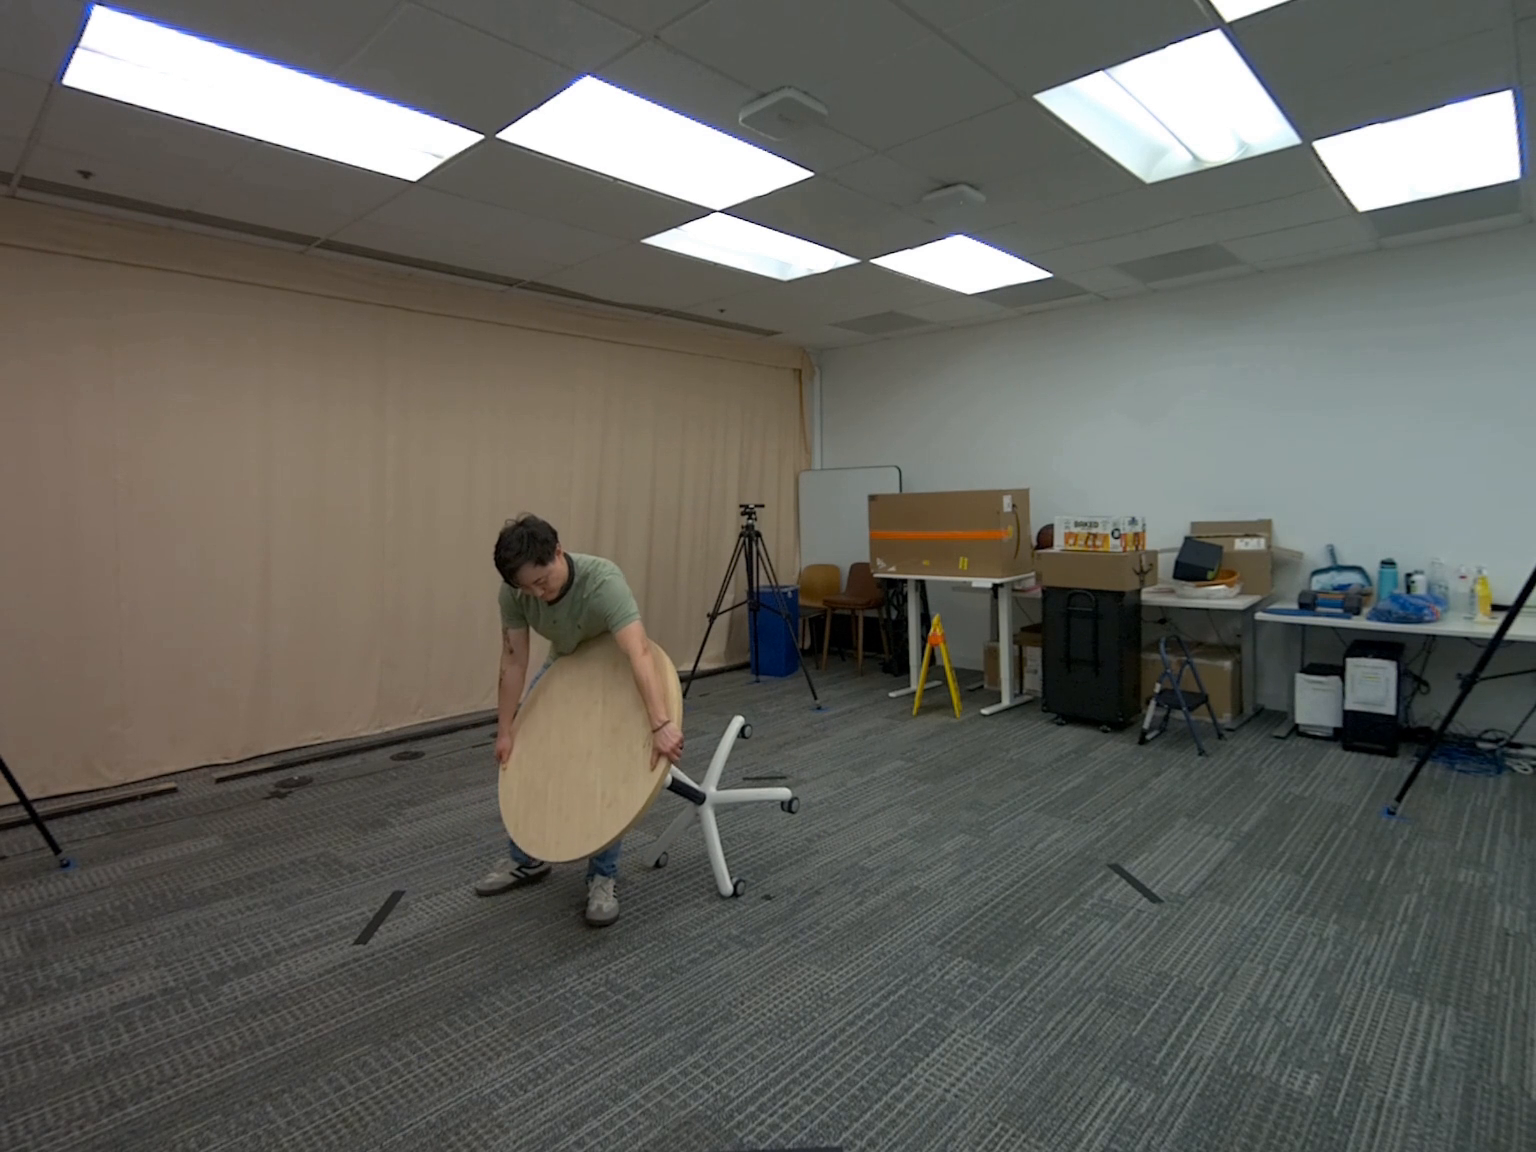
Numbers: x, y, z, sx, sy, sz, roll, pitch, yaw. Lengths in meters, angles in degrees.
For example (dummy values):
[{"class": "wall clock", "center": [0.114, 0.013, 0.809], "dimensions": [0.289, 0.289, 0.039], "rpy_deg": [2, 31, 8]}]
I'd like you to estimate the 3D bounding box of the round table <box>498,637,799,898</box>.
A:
[{"class": "round table", "center": [-0.374, 0.713, 2.978], "dimensions": [0.789, 0.767, 0.765], "rpy_deg": [2, -27, 39]}]
